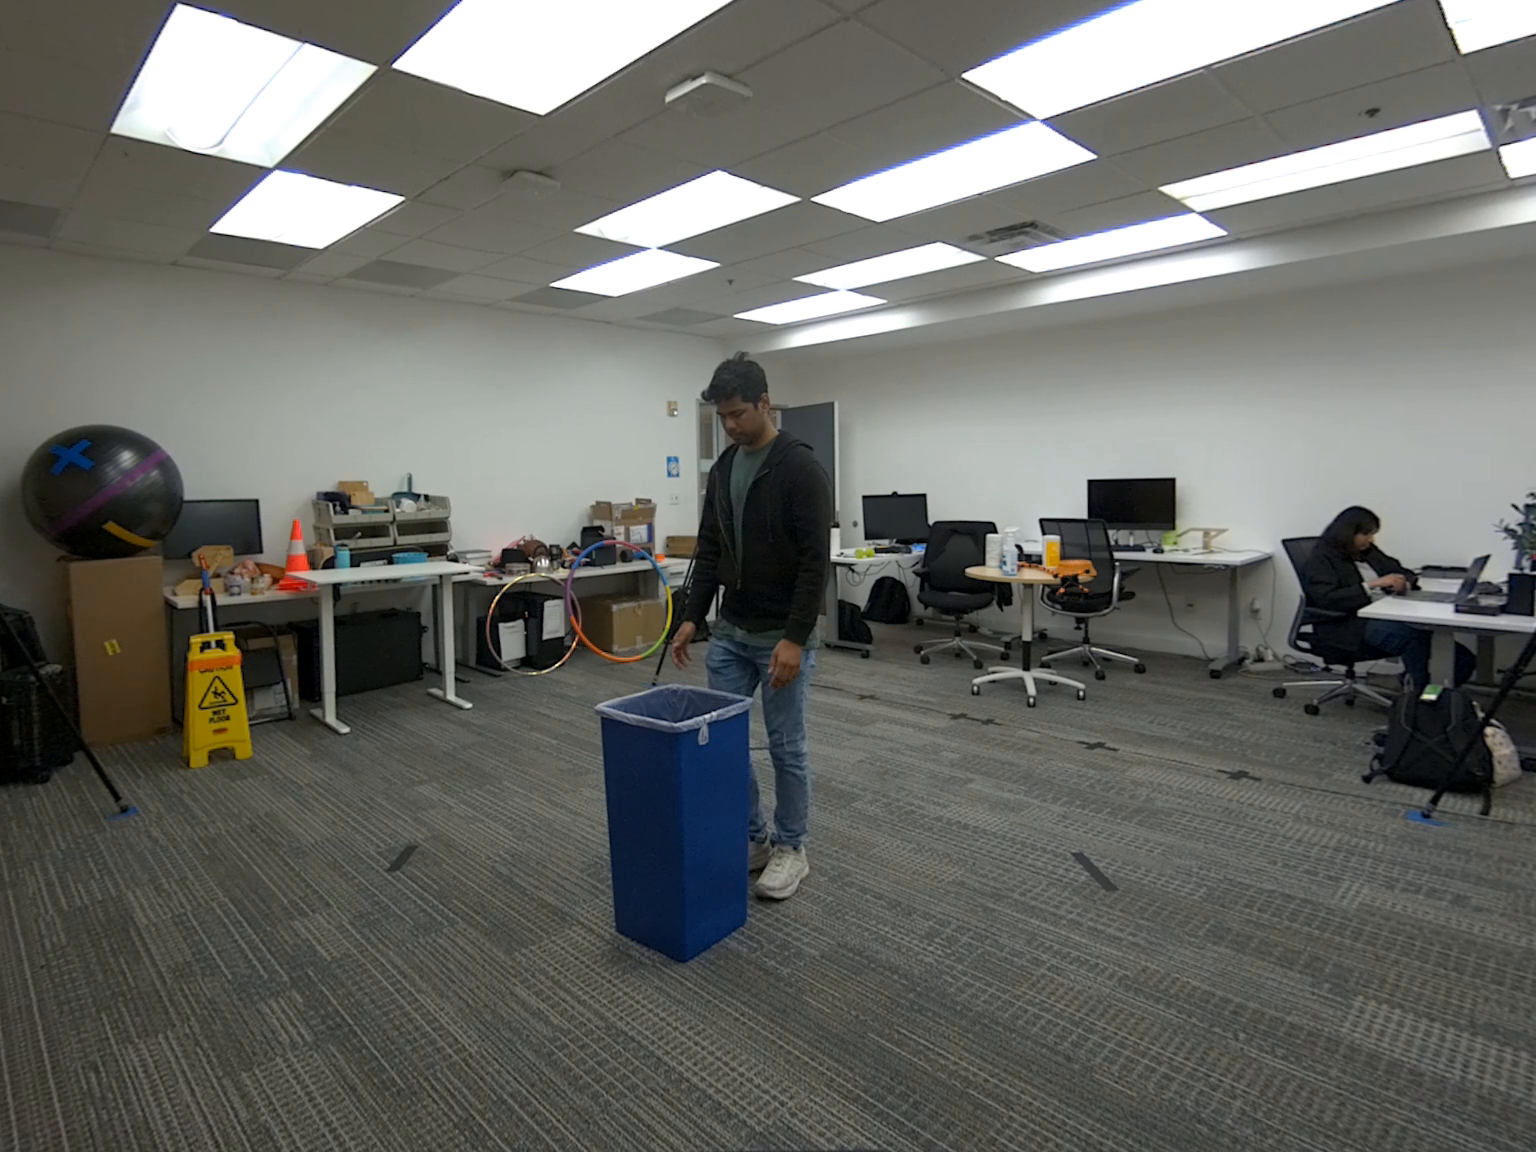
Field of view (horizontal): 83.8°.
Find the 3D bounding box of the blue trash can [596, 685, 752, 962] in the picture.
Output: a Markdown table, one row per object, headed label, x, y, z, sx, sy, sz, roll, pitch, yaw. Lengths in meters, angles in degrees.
| label | x | y | z | sx | sy | sz | roll | pitch | yaw |
| --- | --- | --- | --- | --- | --- | --- | --- | --- | --- |
| blue trash can | -0.285 | 0.743 | 2.659 | 0.385 | 0.711 | 0.368 | 2 | 5 | 38 |
